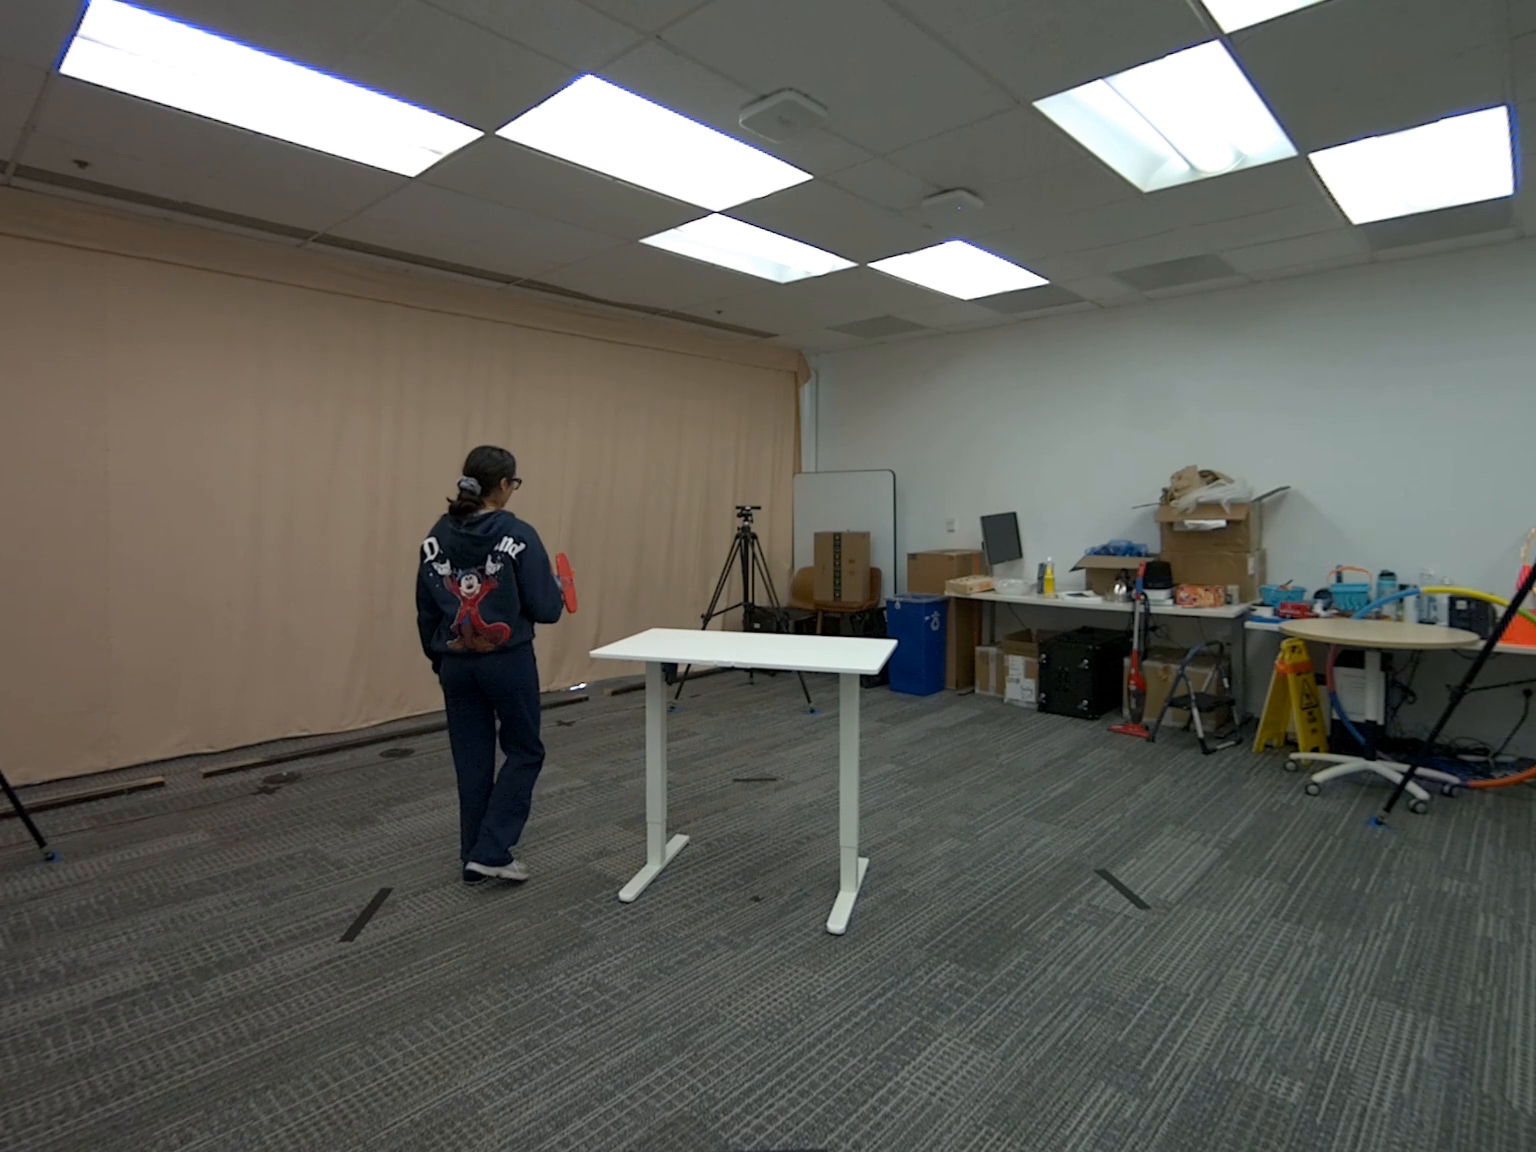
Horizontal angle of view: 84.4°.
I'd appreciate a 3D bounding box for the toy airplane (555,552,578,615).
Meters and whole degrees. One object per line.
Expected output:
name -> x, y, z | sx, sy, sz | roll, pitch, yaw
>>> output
toy airplane -> -0.873, 0.067, 3.458 | 0.157, 0.246, 0.264 | -11, 27, 1
